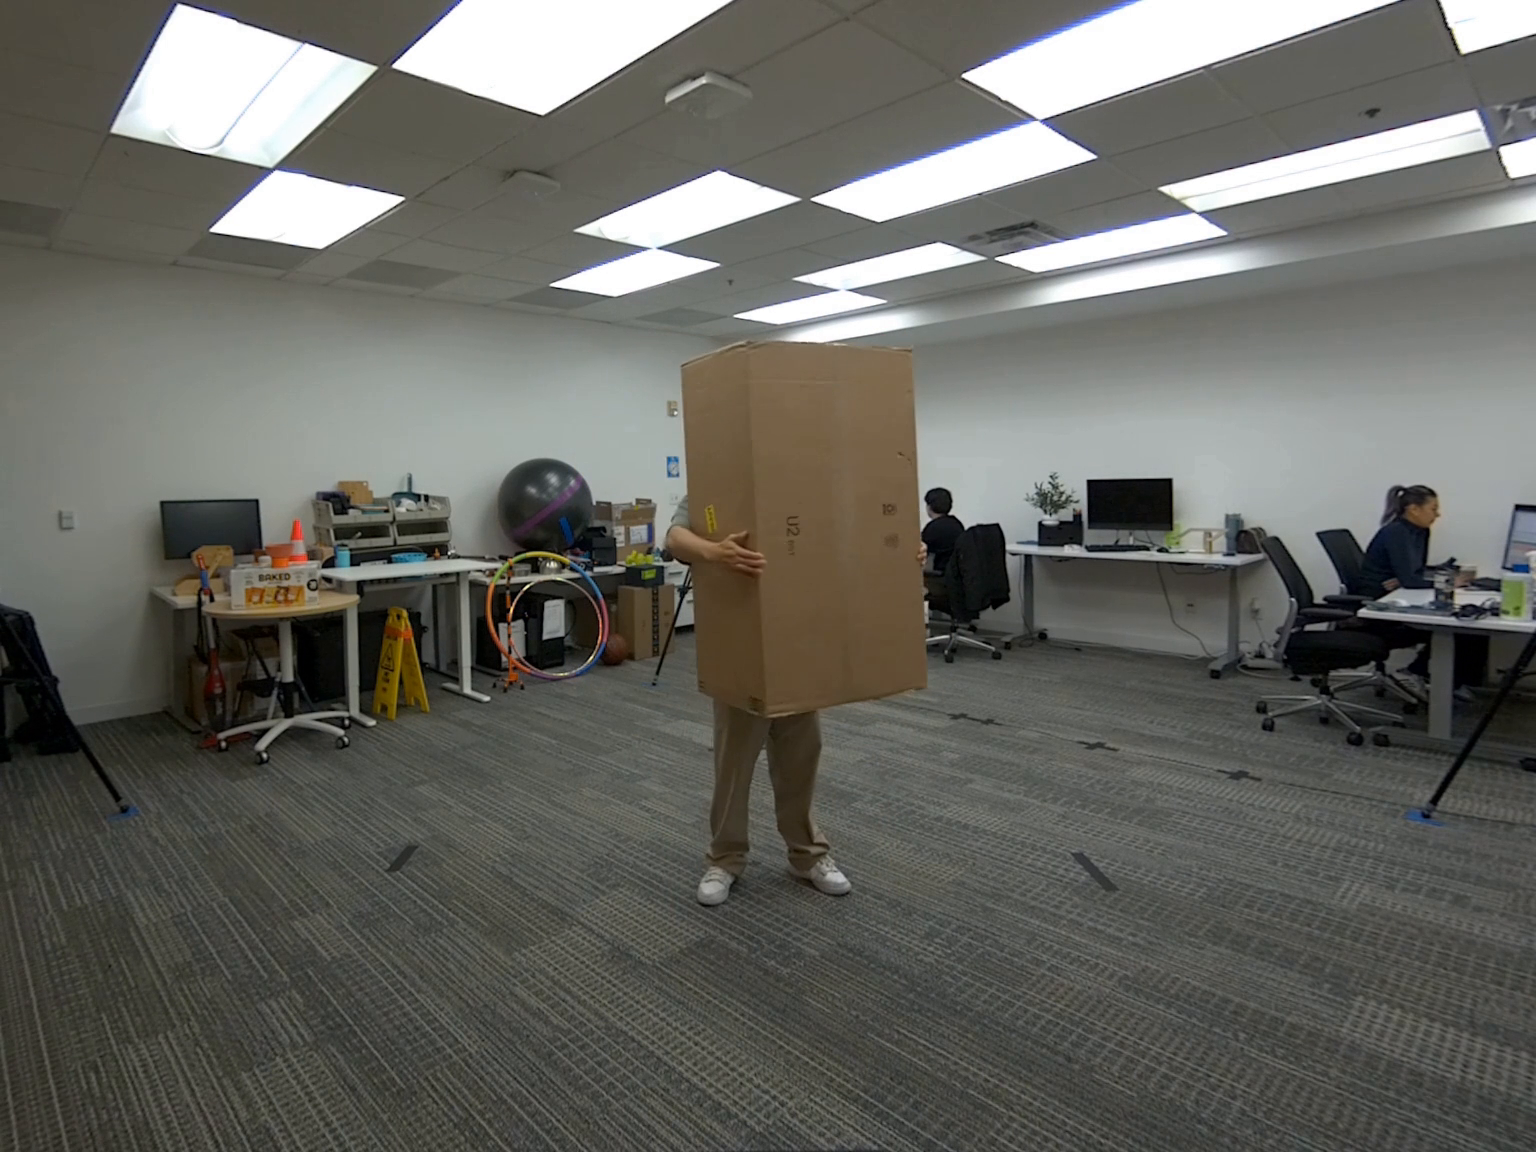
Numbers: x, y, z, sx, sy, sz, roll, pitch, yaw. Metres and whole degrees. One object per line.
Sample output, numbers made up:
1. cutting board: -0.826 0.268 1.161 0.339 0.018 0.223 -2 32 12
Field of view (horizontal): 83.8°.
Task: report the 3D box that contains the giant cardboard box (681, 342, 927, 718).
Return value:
1. giant cardboard box: 0.102 -0.158 2.605 0.565 1.023 0.437 -5 3 -28
